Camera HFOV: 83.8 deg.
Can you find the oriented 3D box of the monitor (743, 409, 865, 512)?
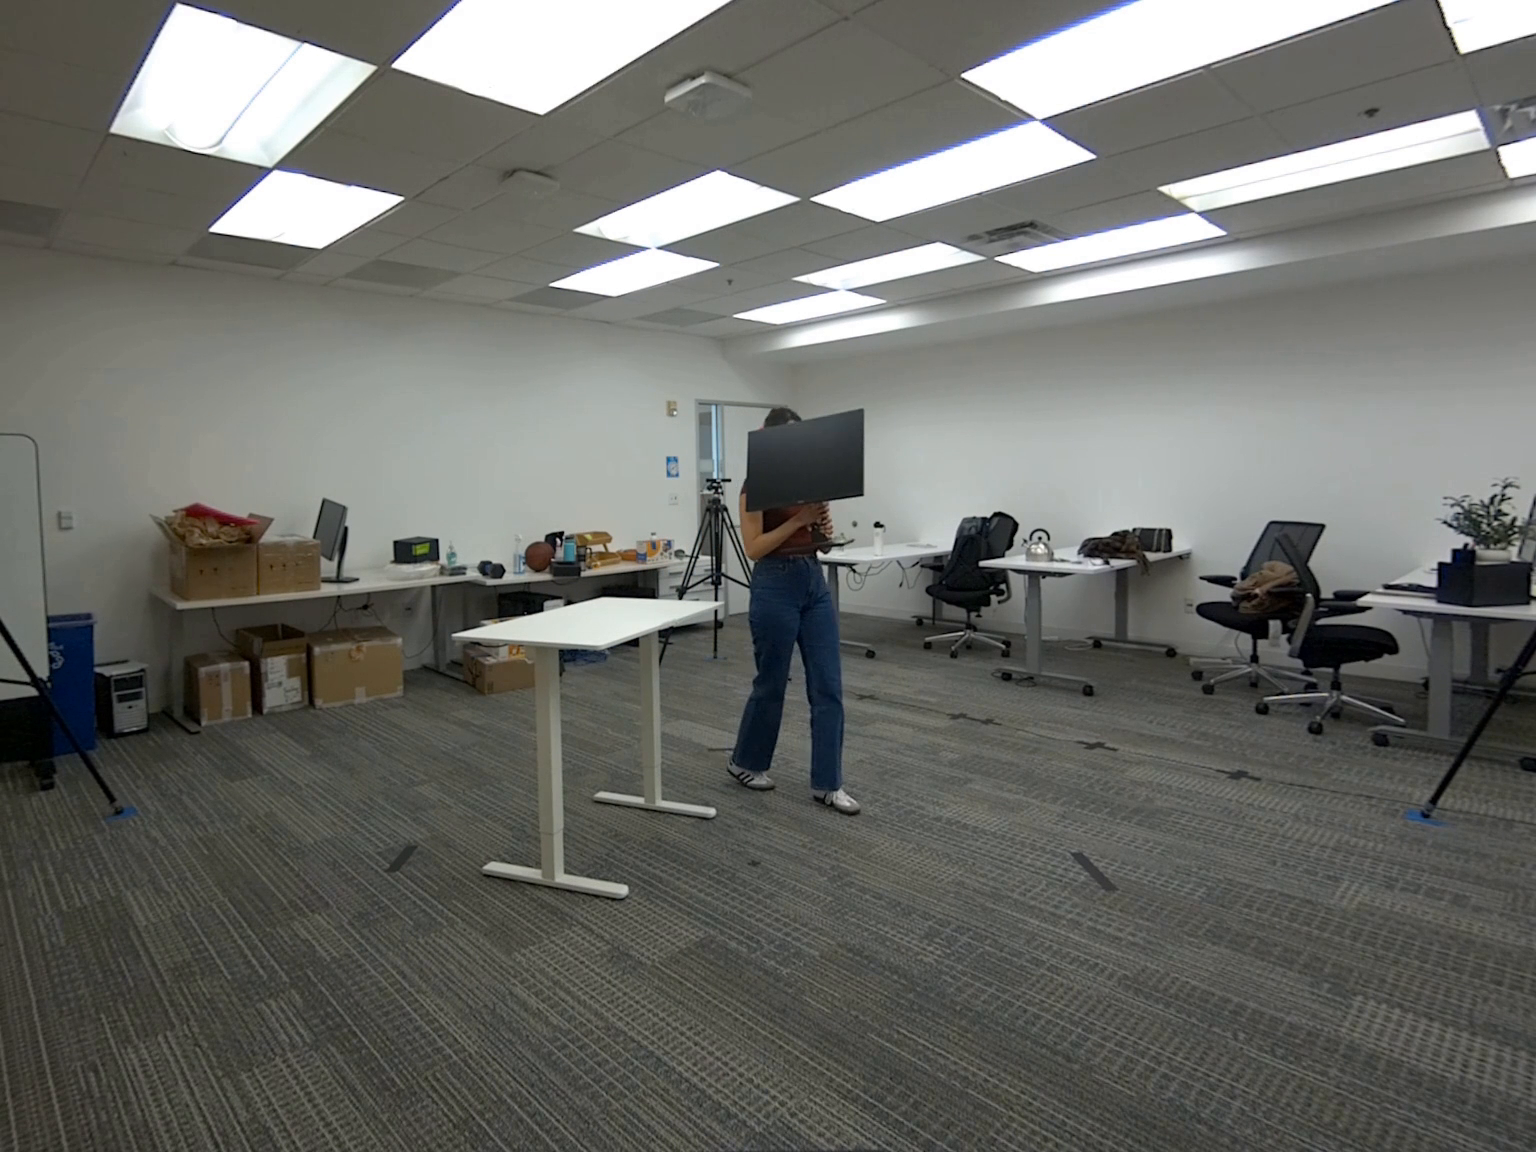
[{"bbox_3d":[0.166,-0.370,3.441,0.552,0.524,0.182,-6,-2,32],"label":"monitor"}]
